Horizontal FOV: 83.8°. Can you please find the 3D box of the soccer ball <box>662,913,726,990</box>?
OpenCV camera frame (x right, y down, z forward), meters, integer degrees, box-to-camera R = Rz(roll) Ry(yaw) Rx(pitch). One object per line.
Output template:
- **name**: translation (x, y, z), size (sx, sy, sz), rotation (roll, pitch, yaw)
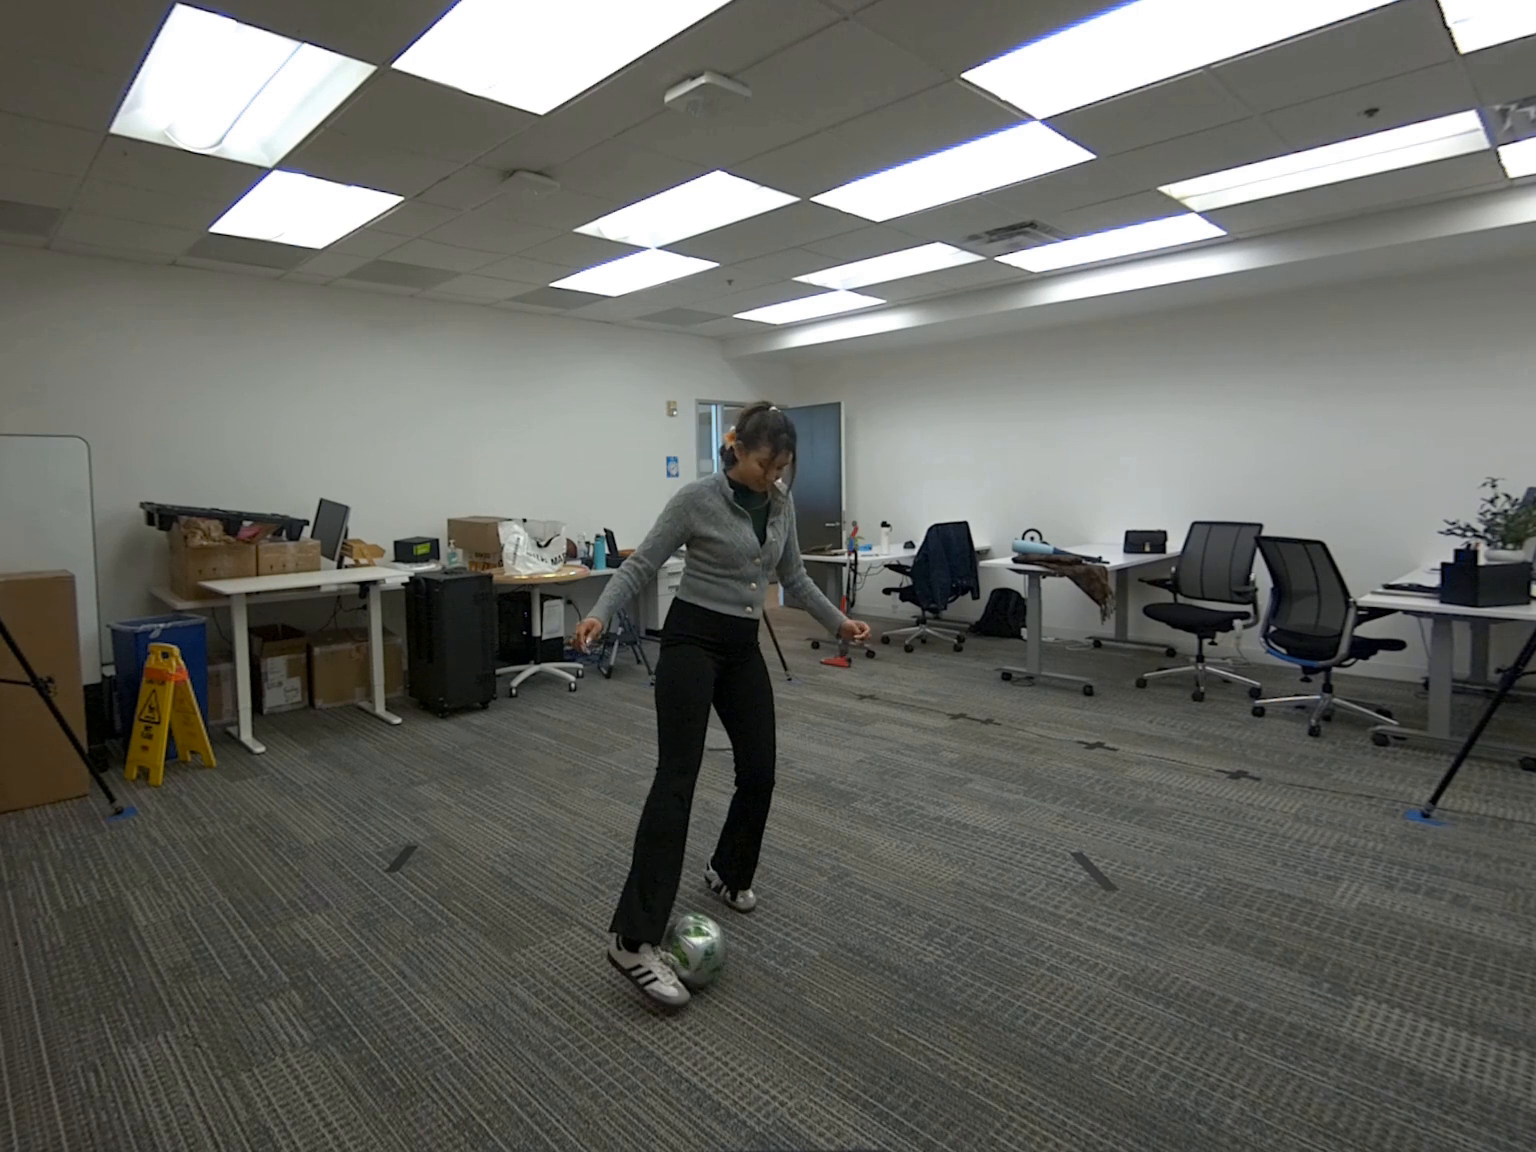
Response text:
- **soccer ball**: translation (-0.188, 1.040, 2.404), size (0.187, 0.187, 0.188), rotation (-1, 5, -2)
